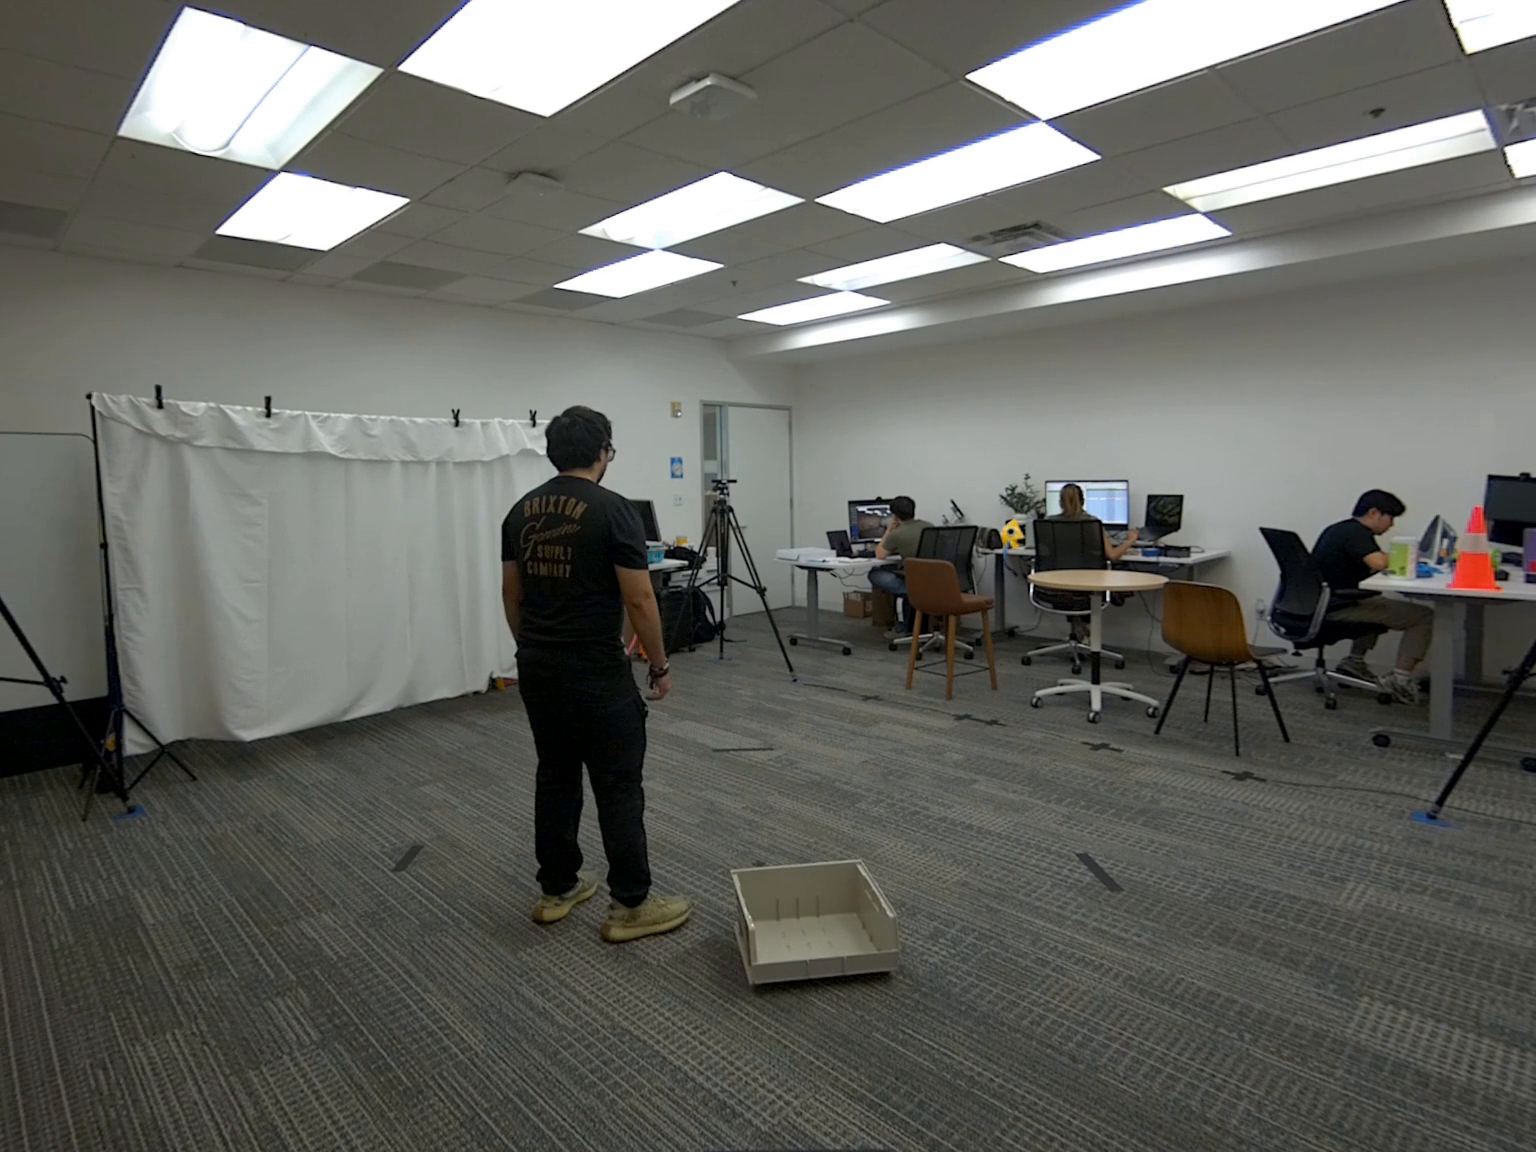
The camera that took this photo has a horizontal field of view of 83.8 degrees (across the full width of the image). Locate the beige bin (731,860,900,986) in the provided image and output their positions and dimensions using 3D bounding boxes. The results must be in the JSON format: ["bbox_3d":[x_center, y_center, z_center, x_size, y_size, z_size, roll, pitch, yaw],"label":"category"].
[{"bbox_3d":[0.129,1.022,2.508,0.419,0.188,0.381,-2,5,-8],"label":"beige bin"}]
